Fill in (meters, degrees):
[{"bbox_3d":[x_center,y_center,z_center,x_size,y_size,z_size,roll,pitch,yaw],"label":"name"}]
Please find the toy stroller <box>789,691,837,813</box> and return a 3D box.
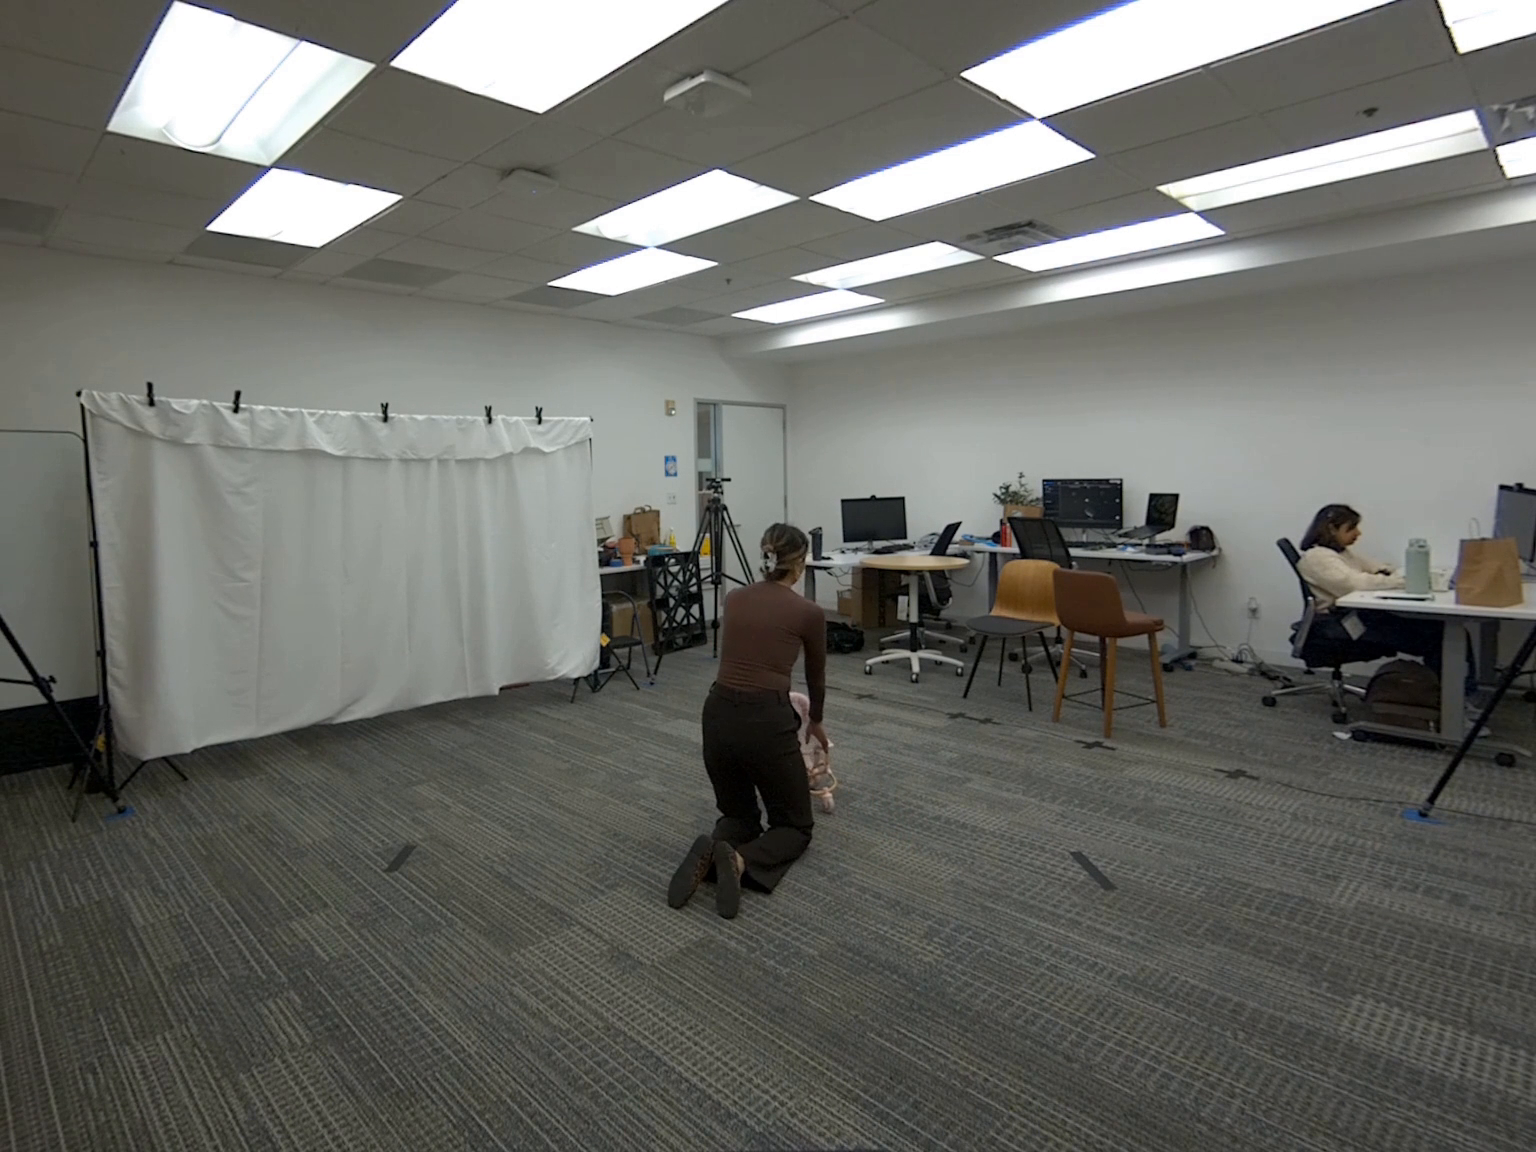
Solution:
[{"bbox_3d":[0.126,0.740,3.695,0.275,0.540,0.346,-6,-9,-32],"label":"toy stroller"}]
